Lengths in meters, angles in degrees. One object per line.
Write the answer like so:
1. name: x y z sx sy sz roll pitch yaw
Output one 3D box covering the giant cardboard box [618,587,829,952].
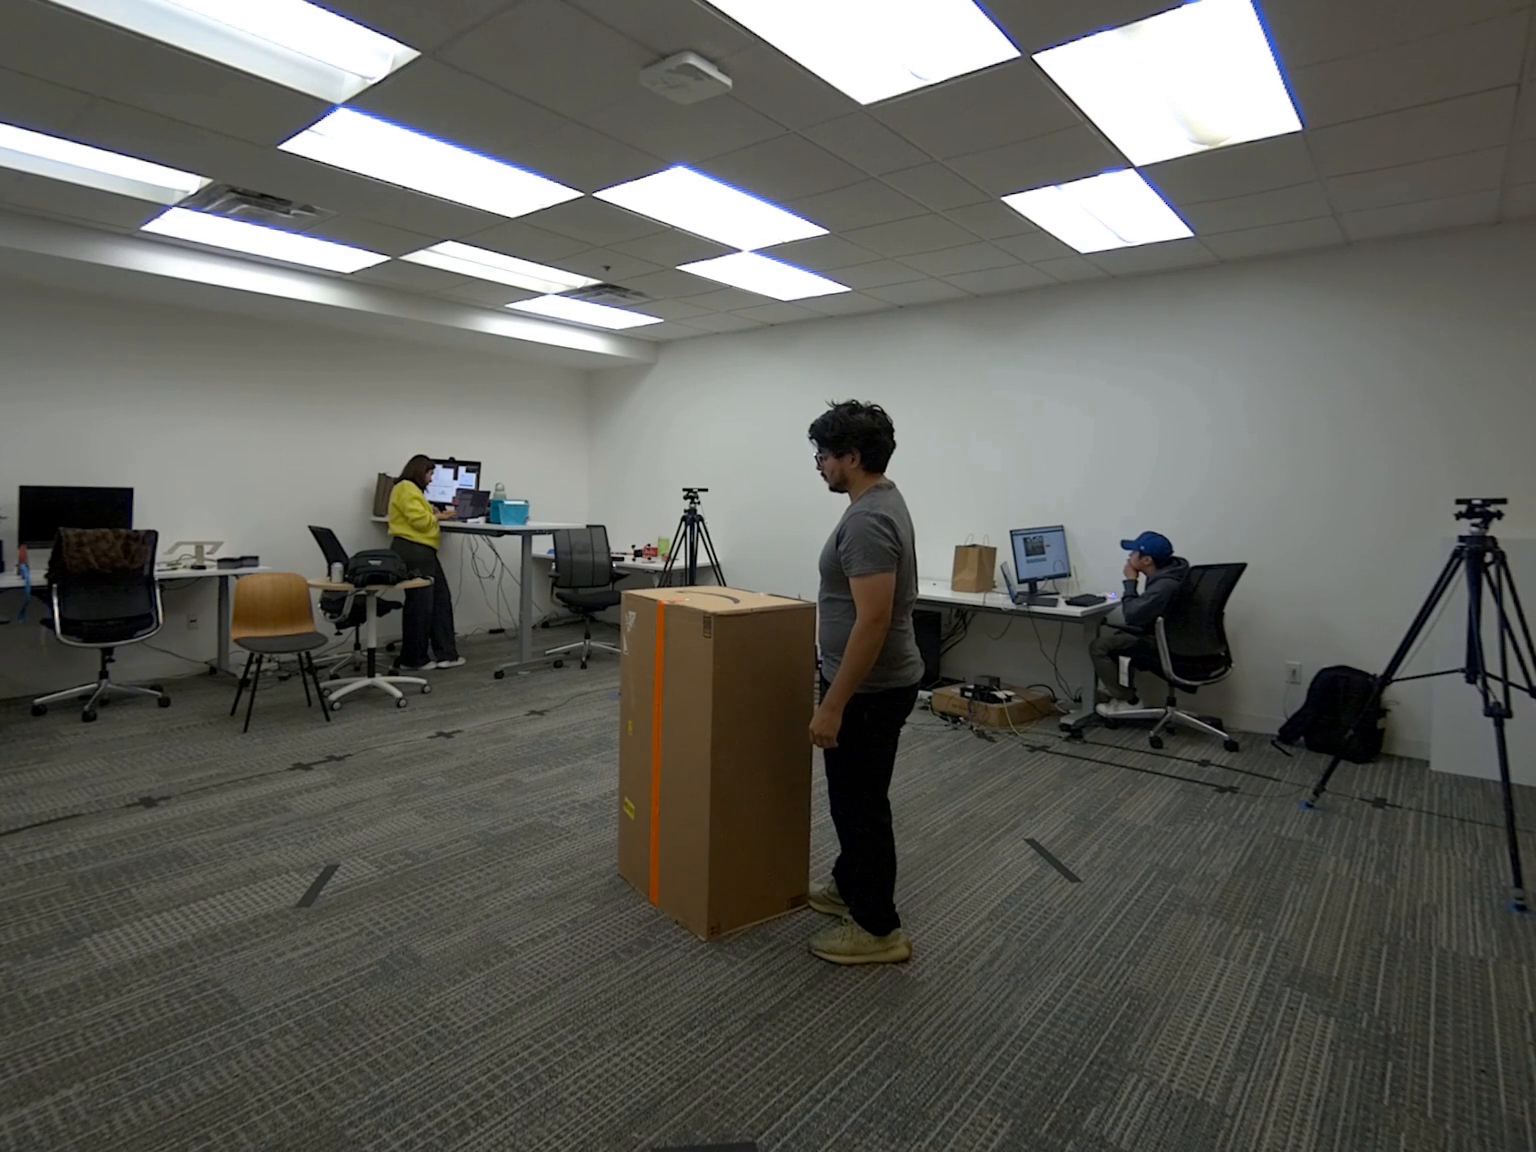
1. giant cardboard box: -0.199 0.580 2.926 0.433 1.024 0.603 0 4 -39
